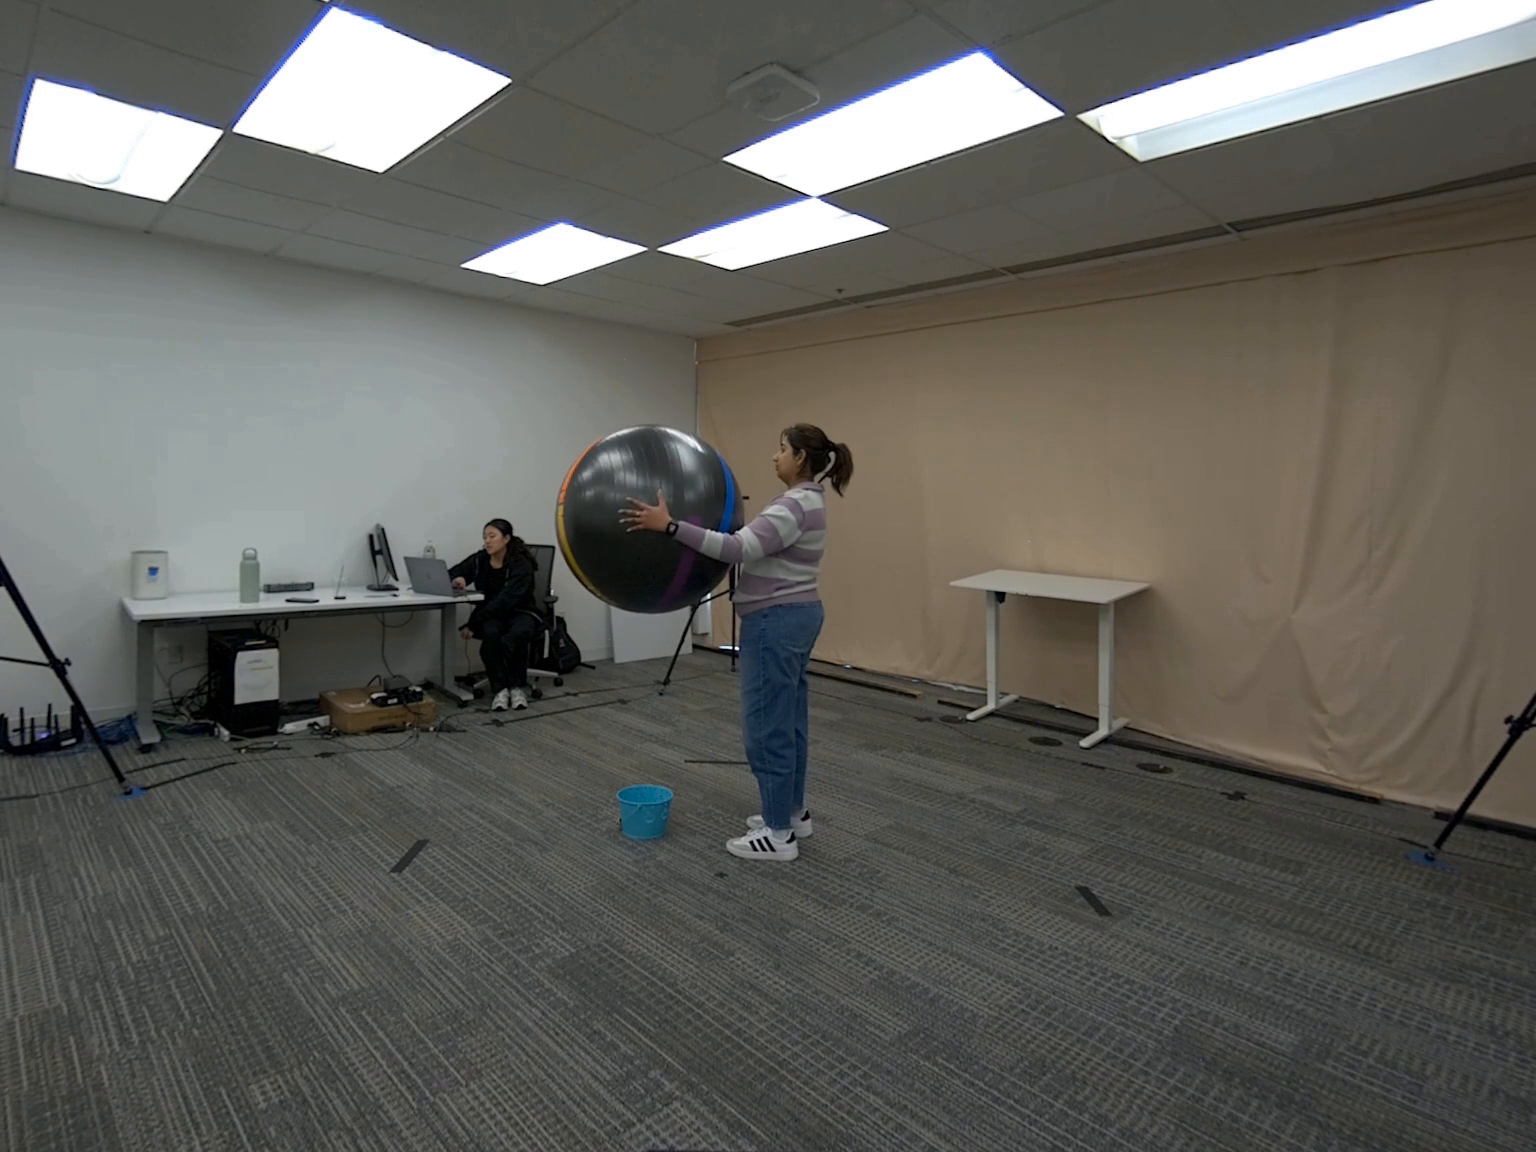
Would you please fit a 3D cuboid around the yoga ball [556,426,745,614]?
[{"bbox_3d":[-0.489,-0.227,3.402,0.757,0.756,0.761,1,4,-1],"label":"yoga ball"}]
